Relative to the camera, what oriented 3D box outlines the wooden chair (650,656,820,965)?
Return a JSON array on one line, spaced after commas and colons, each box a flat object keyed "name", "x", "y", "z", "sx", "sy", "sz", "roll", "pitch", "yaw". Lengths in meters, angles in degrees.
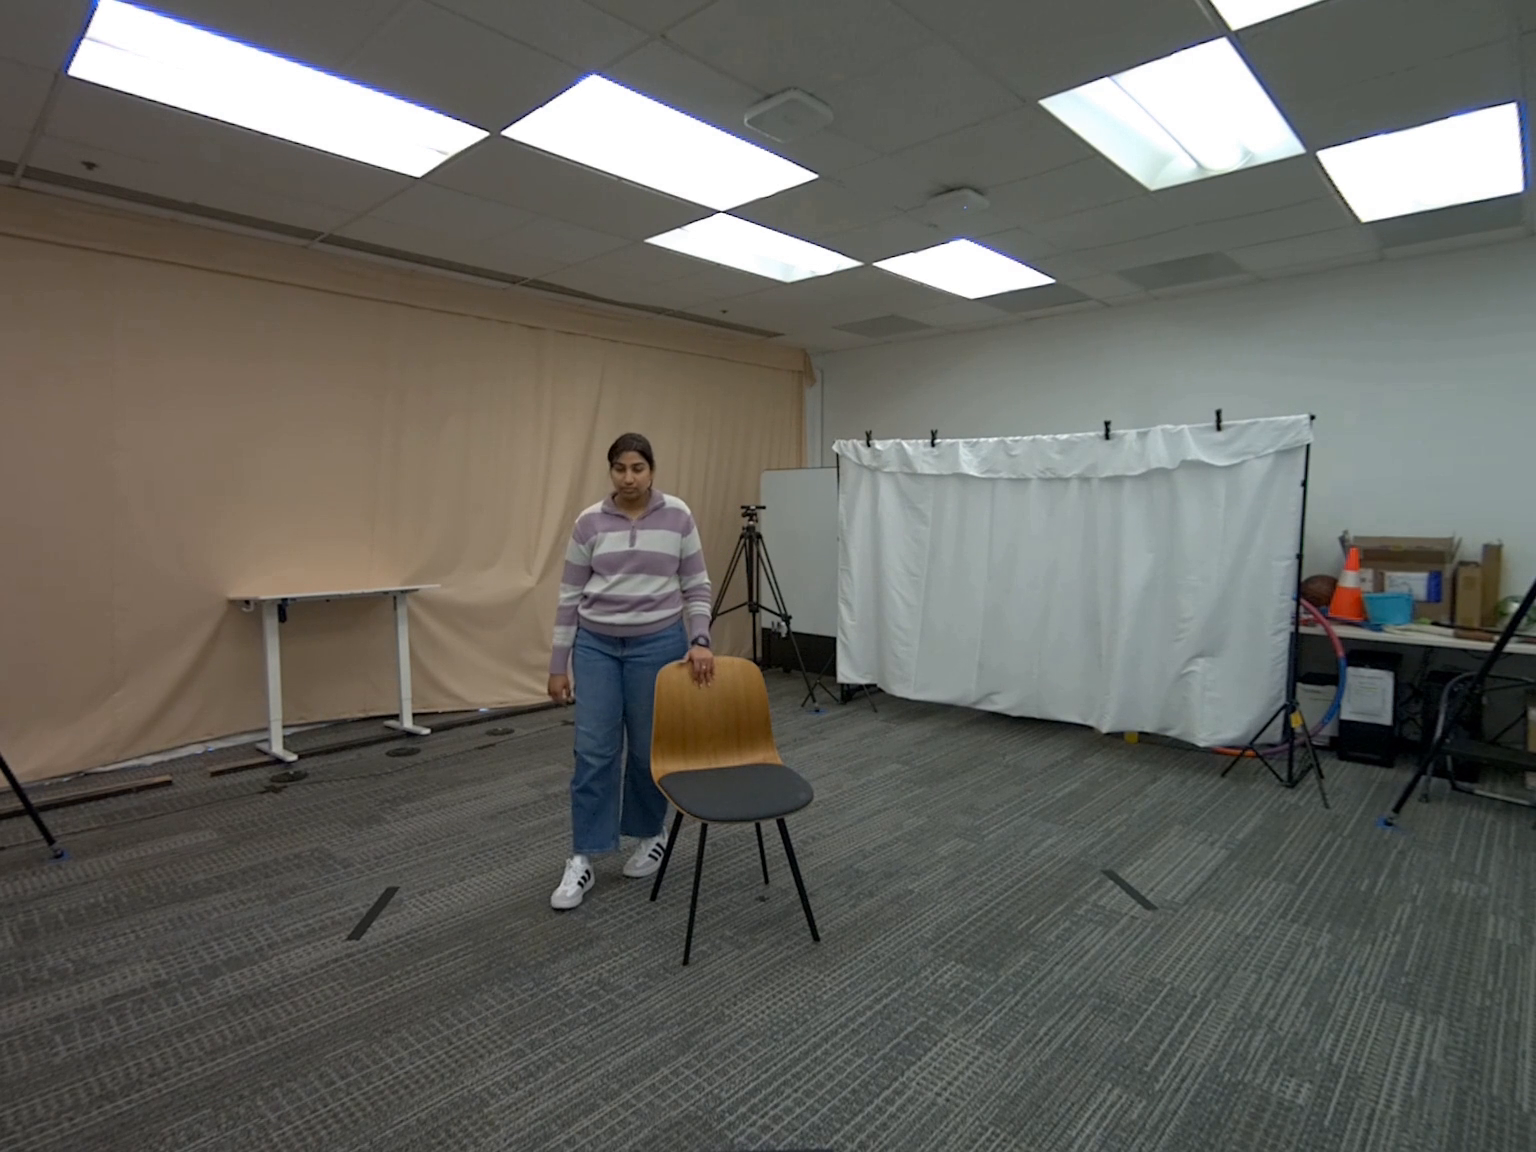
[{"name": "wooden chair", "x": -0.119, "y": 0.733, "z": 2.792, "sx": 0.469, "sy": 0.878, "sz": 0.533, "roll": -1, "pitch": -1, "yaw": -20}]
